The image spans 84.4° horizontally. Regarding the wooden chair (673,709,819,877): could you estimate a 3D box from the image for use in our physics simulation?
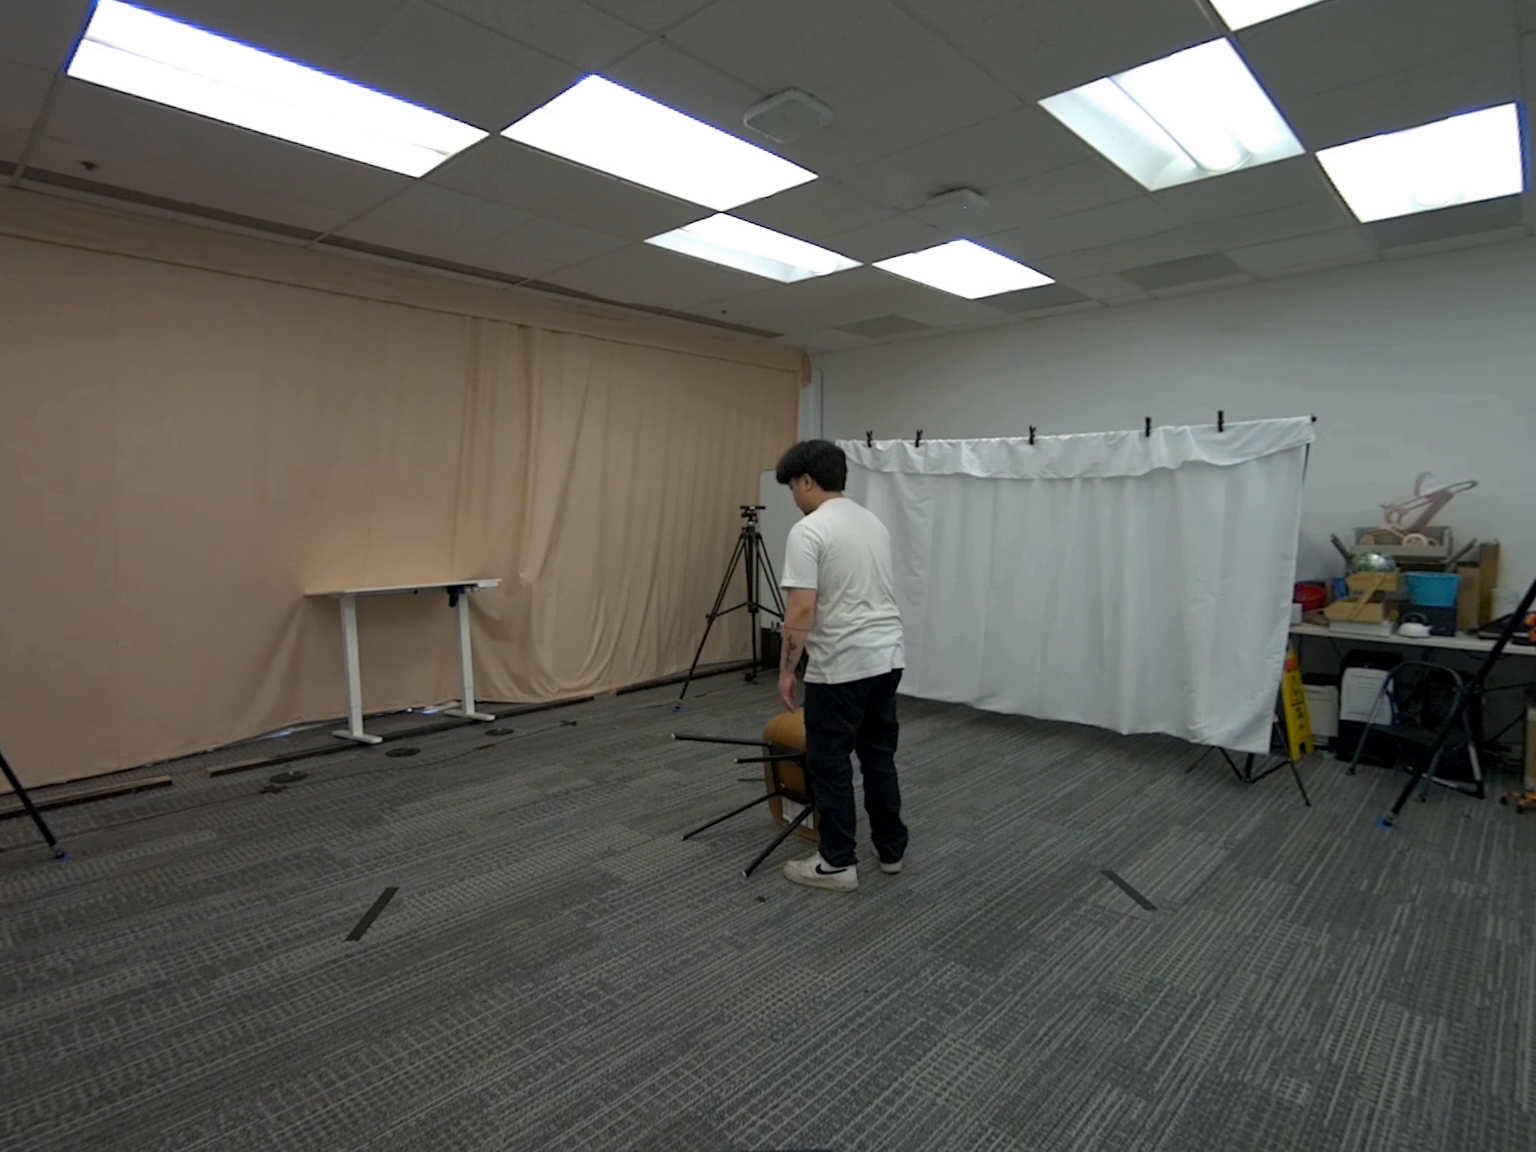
[{"bbox_3d":[0.093,0.842,3.558,0.855,0.520,0.493,-14,11,-36],"label":"wooden chair"}]
